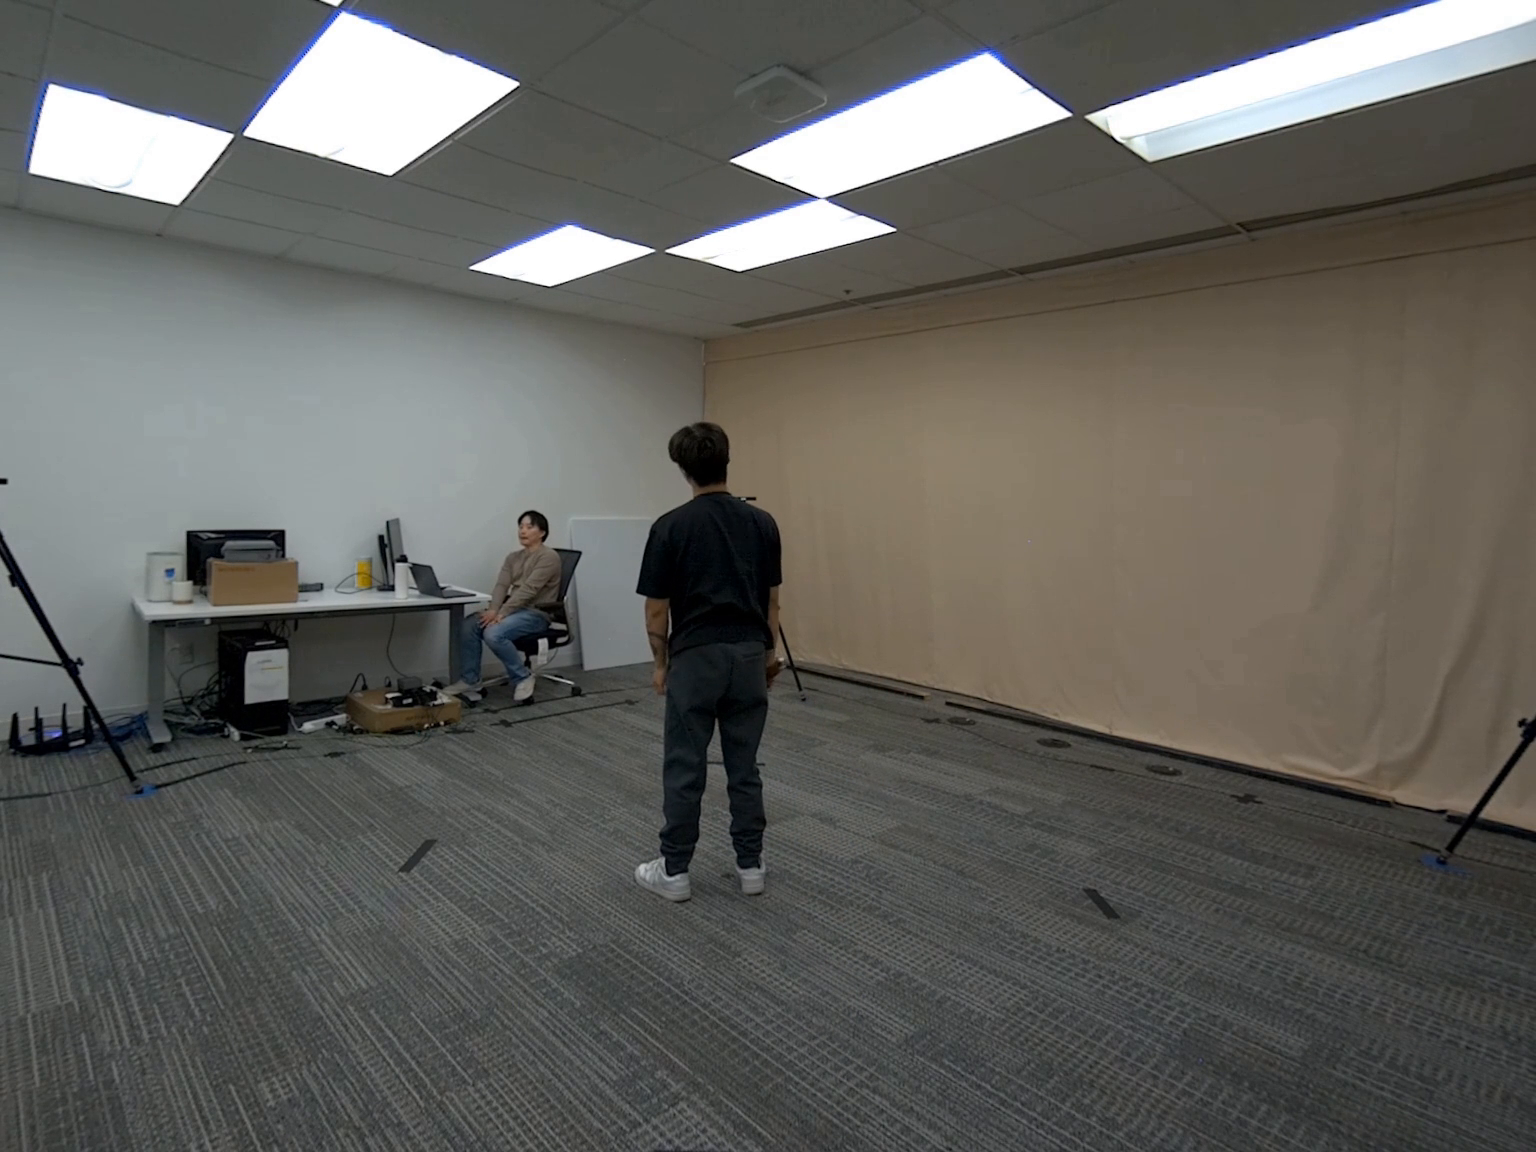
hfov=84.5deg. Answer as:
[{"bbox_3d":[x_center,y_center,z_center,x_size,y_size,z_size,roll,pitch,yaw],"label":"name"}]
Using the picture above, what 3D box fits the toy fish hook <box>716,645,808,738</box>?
[{"bbox_3d":[-0.060,0.476,3.175,0.047,0.229,0.506,-14,-23,-41],"label":"toy fish hook"}]
